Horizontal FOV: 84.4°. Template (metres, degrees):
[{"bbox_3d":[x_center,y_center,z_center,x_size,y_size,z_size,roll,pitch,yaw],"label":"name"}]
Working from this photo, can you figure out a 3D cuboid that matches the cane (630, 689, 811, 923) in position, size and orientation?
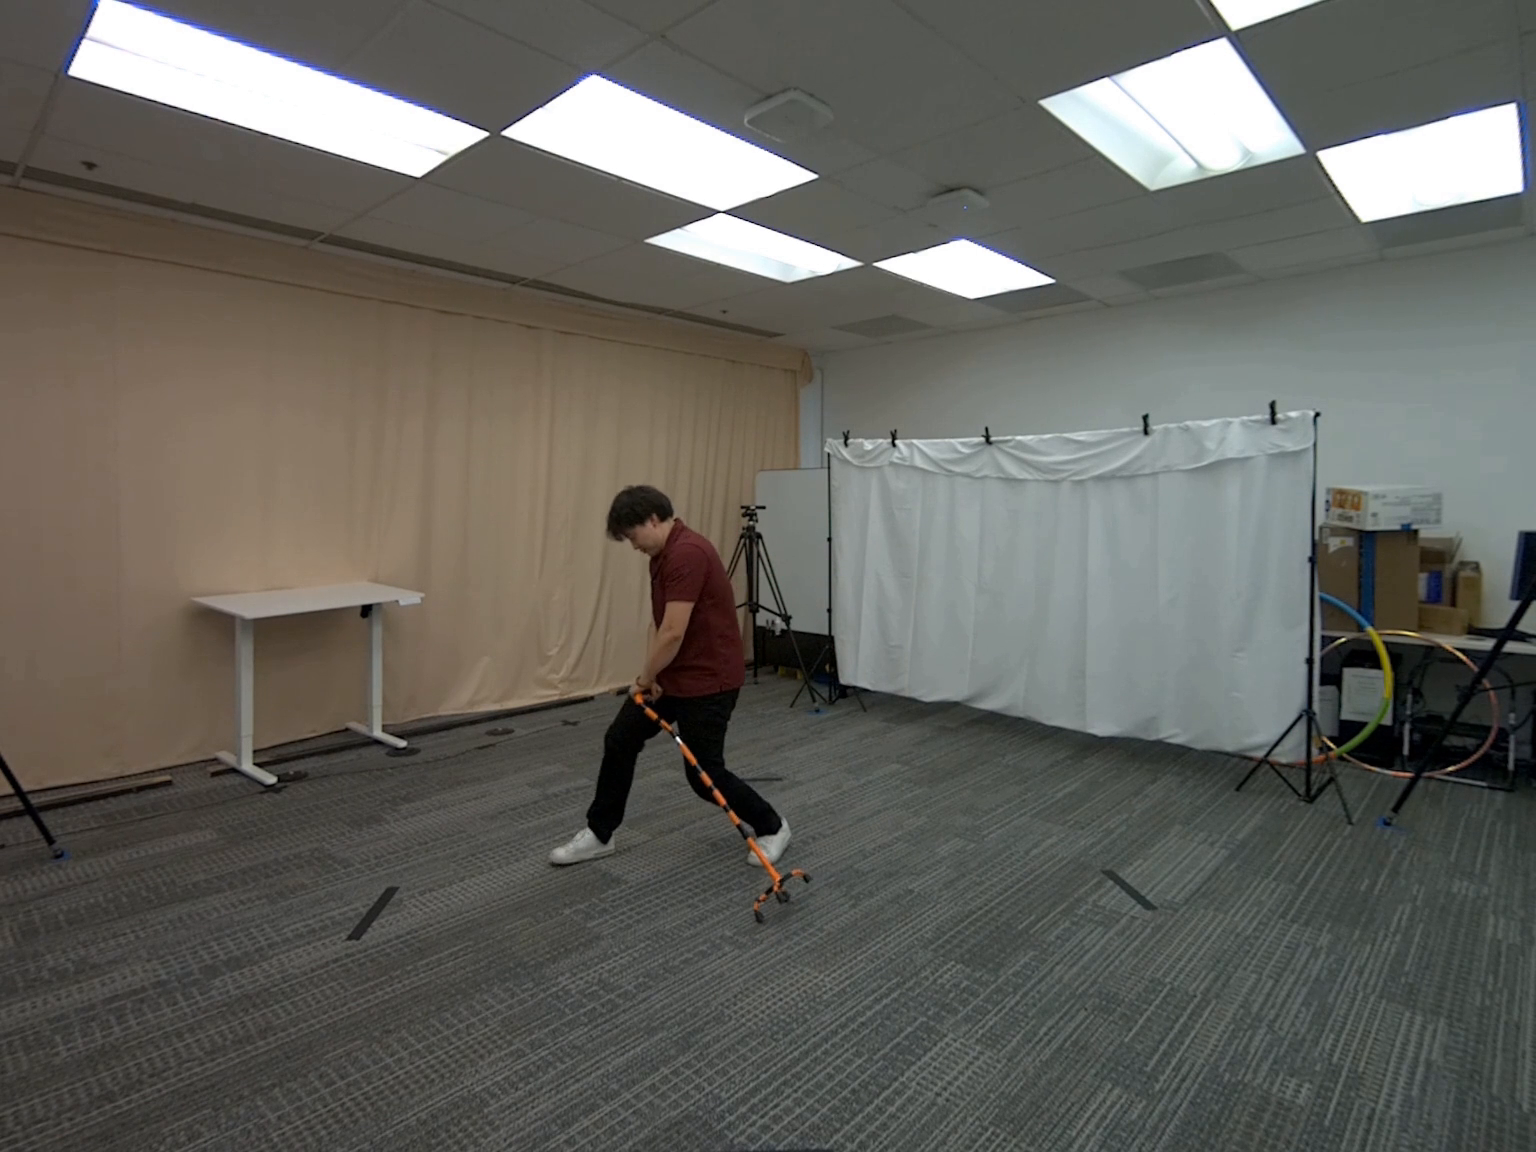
[{"bbox_3d":[-0.203,0.771,3.022,0.929,0.152,0.201,50,27,20],"label":"cane"}]
